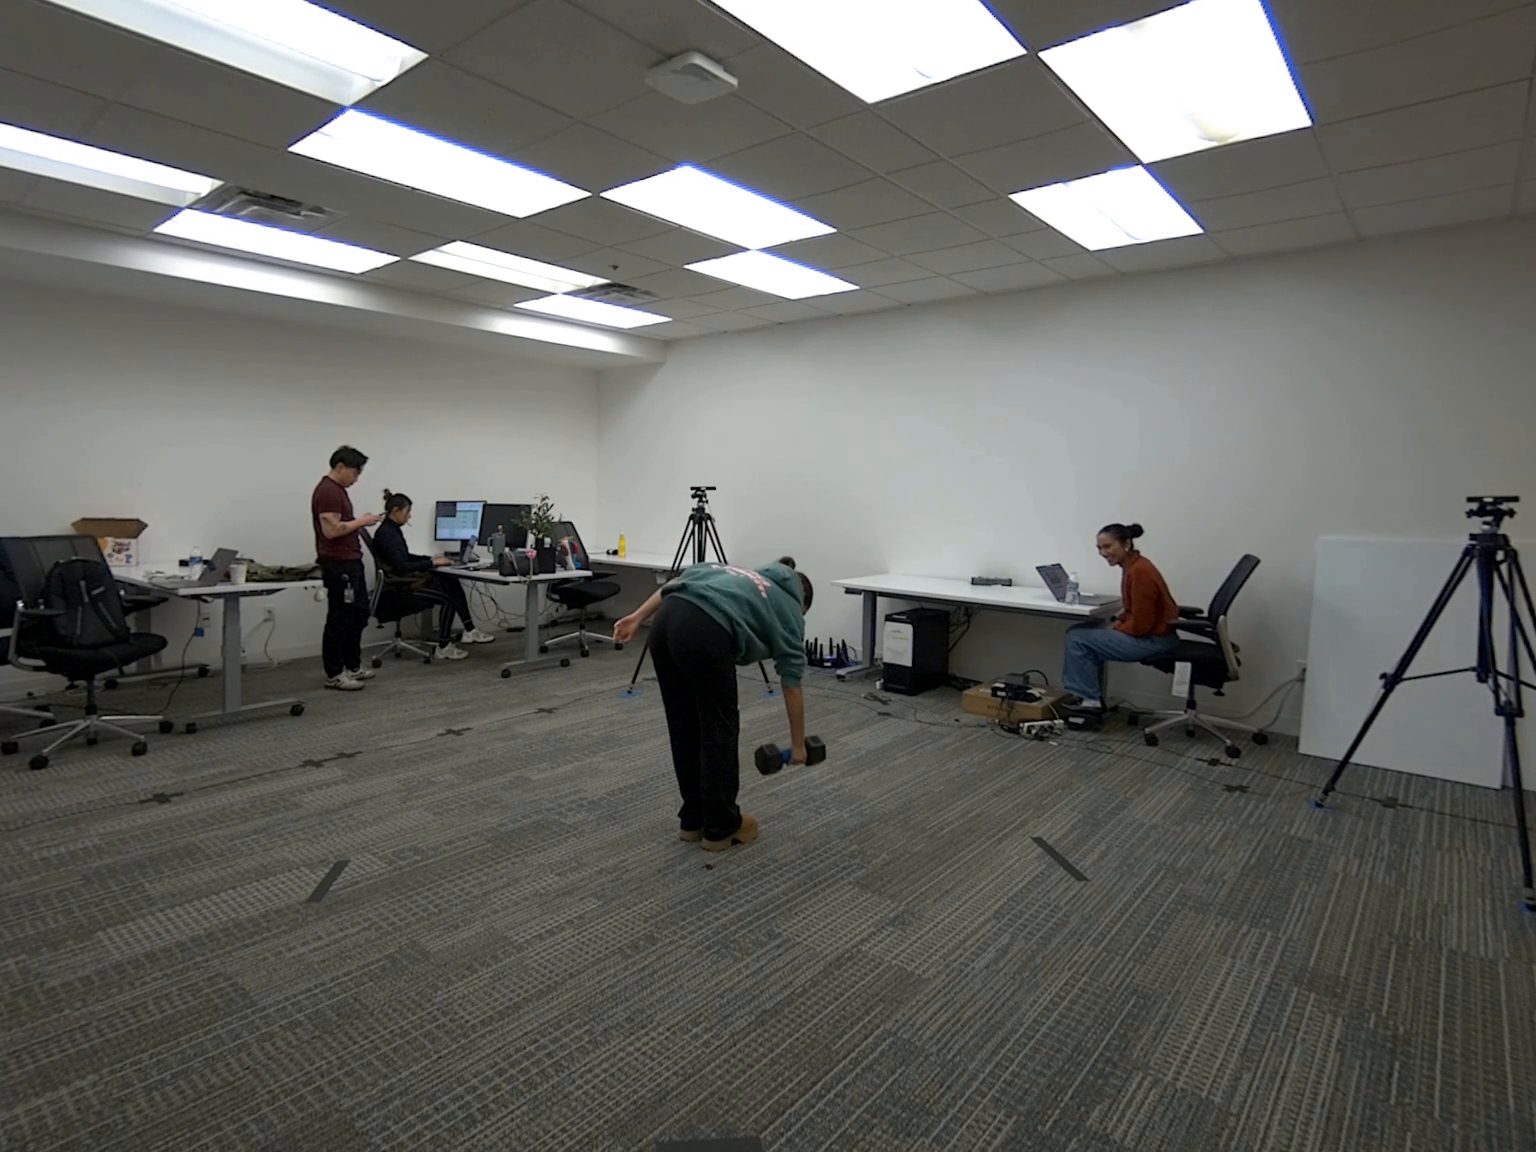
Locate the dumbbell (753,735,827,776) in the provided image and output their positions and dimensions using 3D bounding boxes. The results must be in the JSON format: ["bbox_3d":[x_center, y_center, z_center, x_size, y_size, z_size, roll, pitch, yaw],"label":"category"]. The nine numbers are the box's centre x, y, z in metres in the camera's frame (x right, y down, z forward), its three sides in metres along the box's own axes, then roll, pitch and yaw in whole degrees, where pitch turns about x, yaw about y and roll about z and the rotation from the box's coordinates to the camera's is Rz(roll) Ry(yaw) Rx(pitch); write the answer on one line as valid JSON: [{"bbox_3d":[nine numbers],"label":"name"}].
[{"bbox_3d":[0.077,0.728,3.463,0.286,0.112,0.122,-4,-27,-29],"label":"dumbbell"}]
